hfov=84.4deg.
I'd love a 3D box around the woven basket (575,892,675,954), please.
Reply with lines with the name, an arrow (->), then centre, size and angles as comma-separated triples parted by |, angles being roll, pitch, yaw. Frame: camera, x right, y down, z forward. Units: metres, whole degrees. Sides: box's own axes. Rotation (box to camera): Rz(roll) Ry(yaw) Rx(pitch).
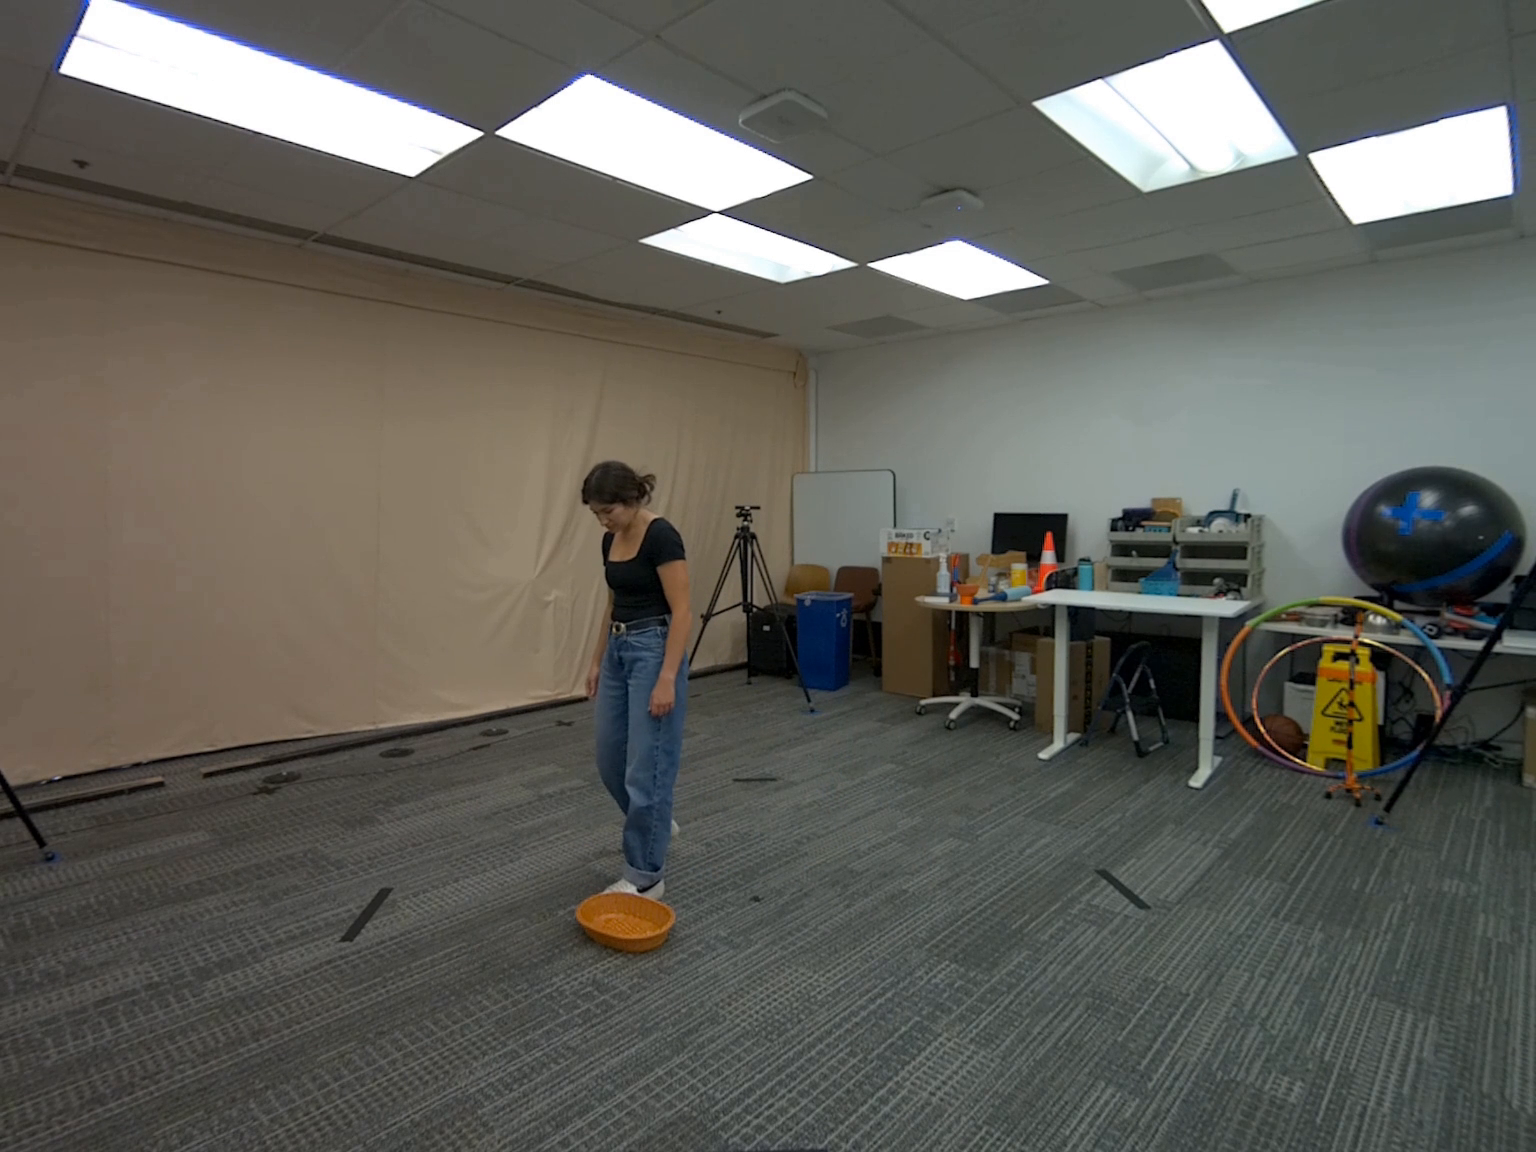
woven basket -> -0.461, 1.122, 2.737 | 0.362, 0.073, 0.245 | 4, 7, 36
